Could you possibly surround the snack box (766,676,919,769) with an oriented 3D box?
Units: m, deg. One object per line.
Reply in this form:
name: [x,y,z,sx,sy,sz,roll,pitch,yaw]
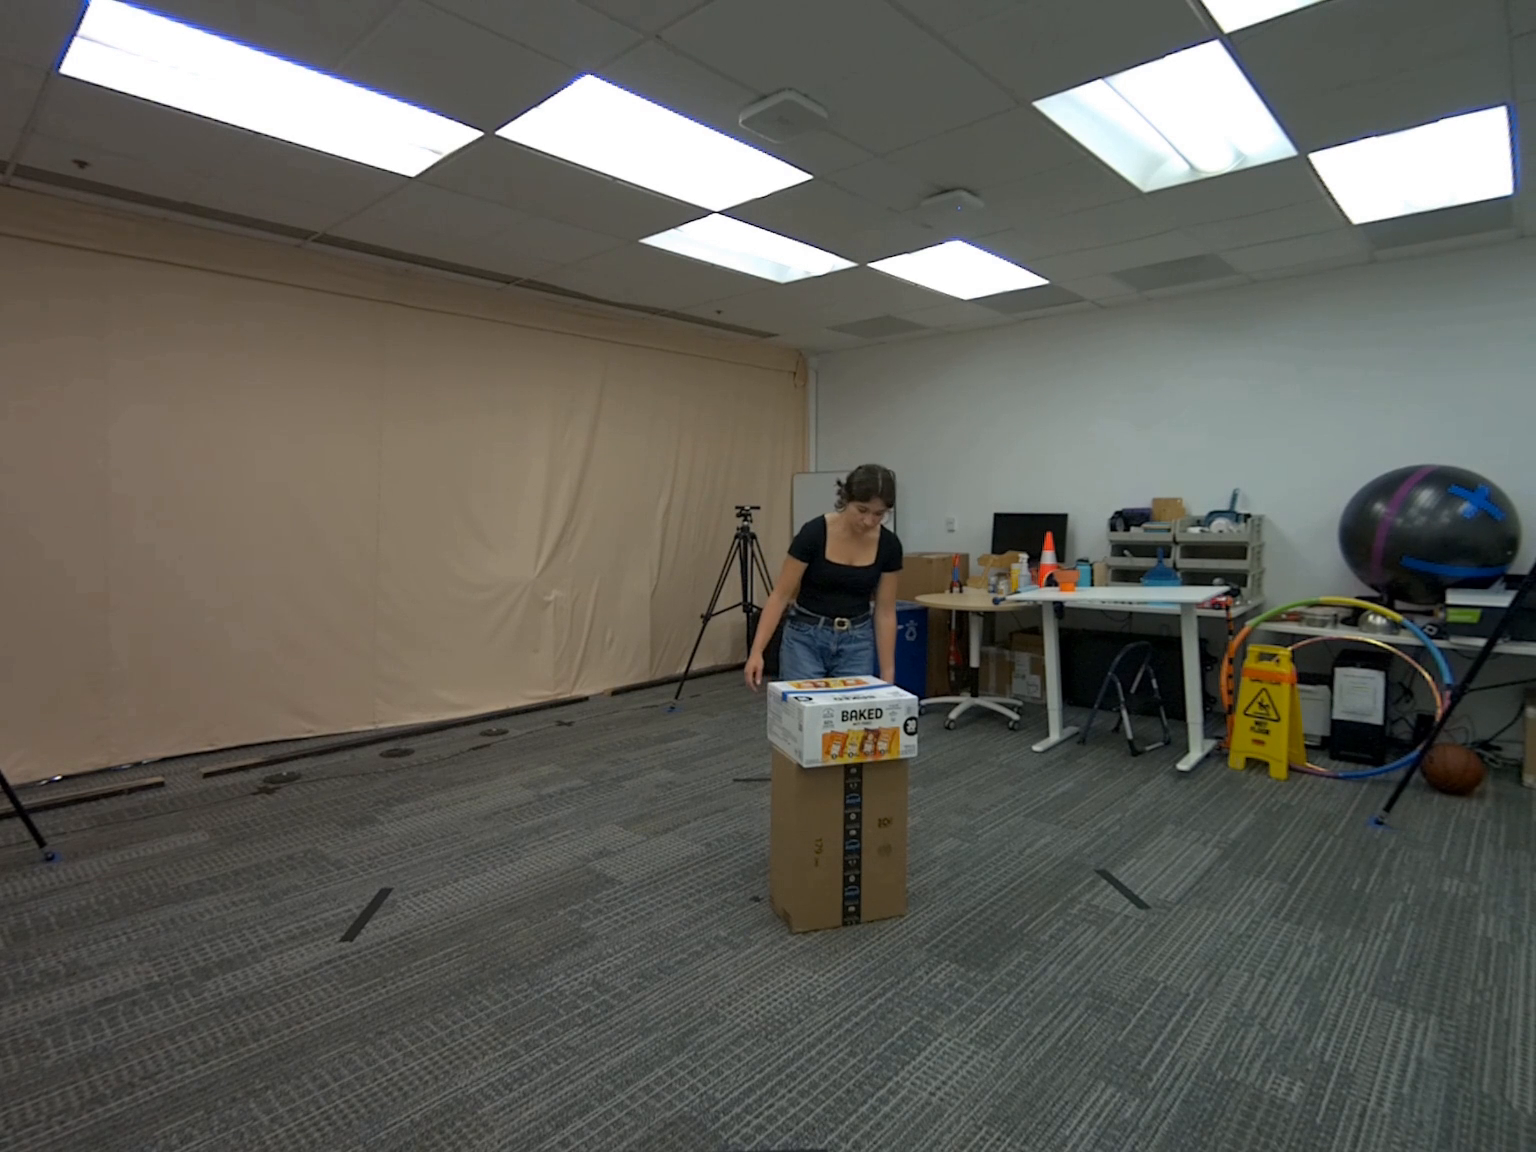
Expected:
snack box: [0.246,0.483,2.865,0.398,0.205,0.347,-2,5,-18]
